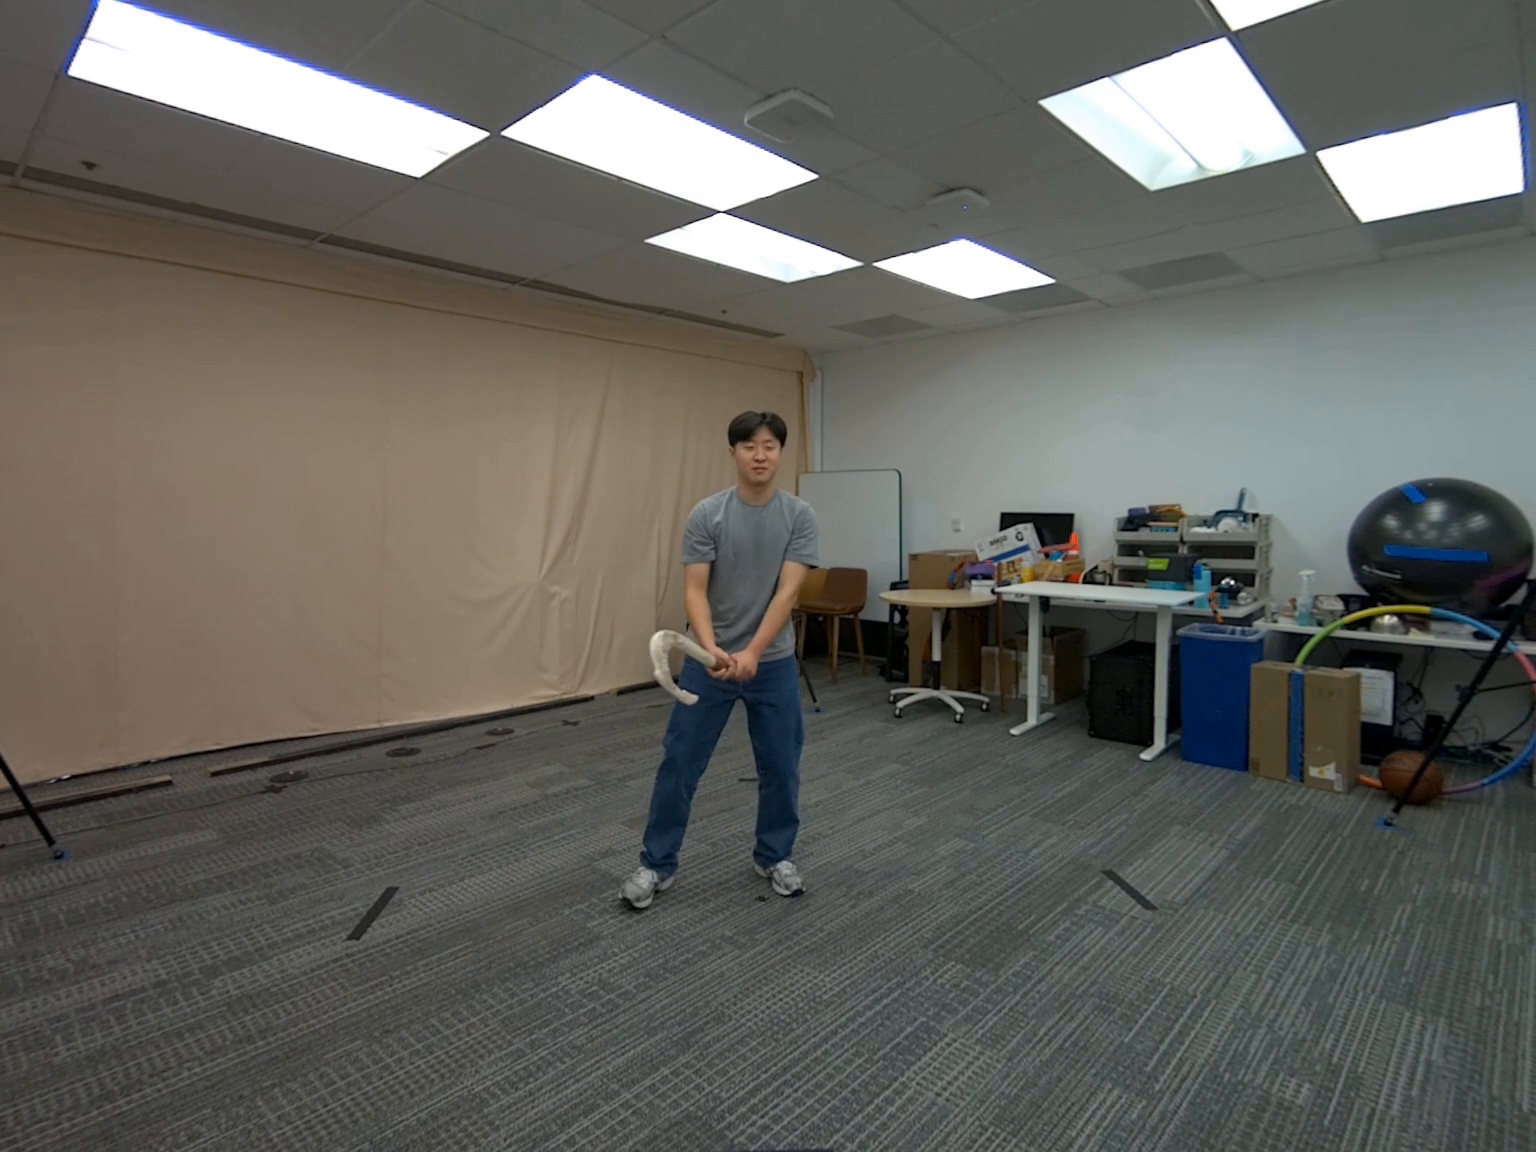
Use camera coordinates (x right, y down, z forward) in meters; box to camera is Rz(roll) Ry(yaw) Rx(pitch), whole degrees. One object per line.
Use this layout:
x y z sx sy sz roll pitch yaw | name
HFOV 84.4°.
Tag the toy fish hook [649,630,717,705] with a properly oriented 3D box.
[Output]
-0.205 0.307 2.618 0.049 0.228 0.488 -18 -25 29 | toy fish hook
